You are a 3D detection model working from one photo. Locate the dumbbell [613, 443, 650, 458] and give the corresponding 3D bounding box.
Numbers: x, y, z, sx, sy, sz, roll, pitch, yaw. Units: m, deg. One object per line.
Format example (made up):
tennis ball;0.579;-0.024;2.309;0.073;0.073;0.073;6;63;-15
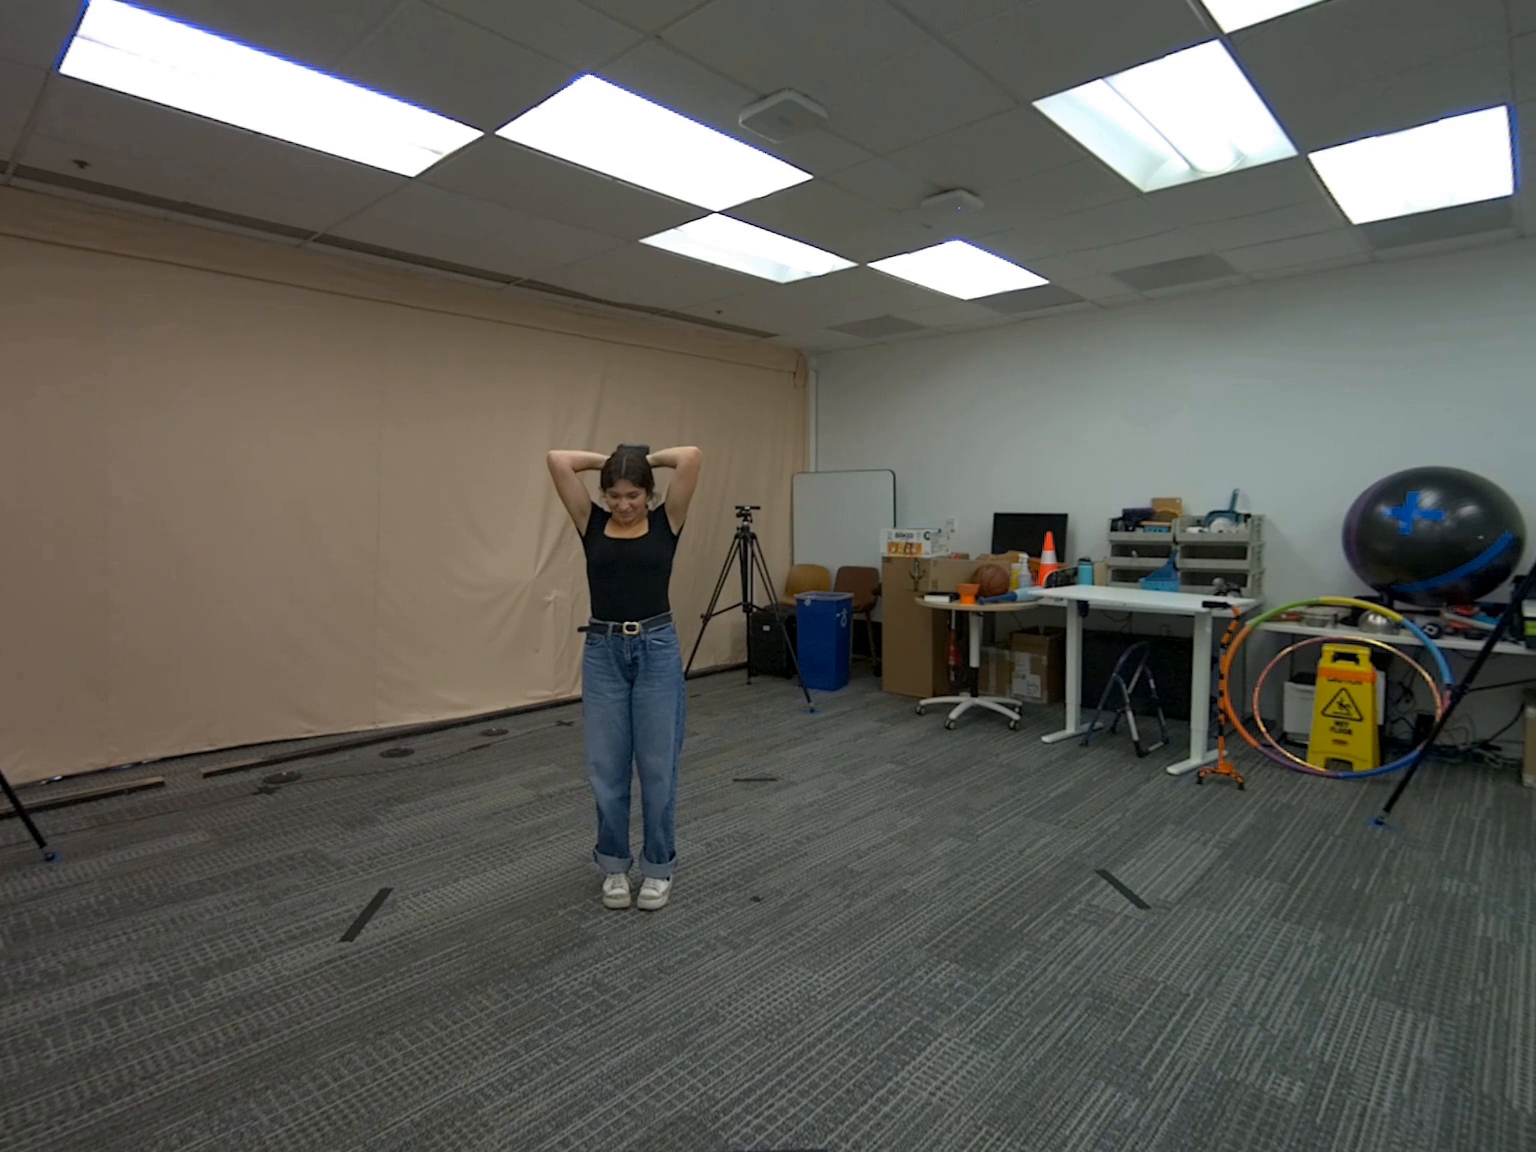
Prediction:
dumbbell;-0.503;-0.347;3.108;0.112;0.293;0.119;3;3;31
